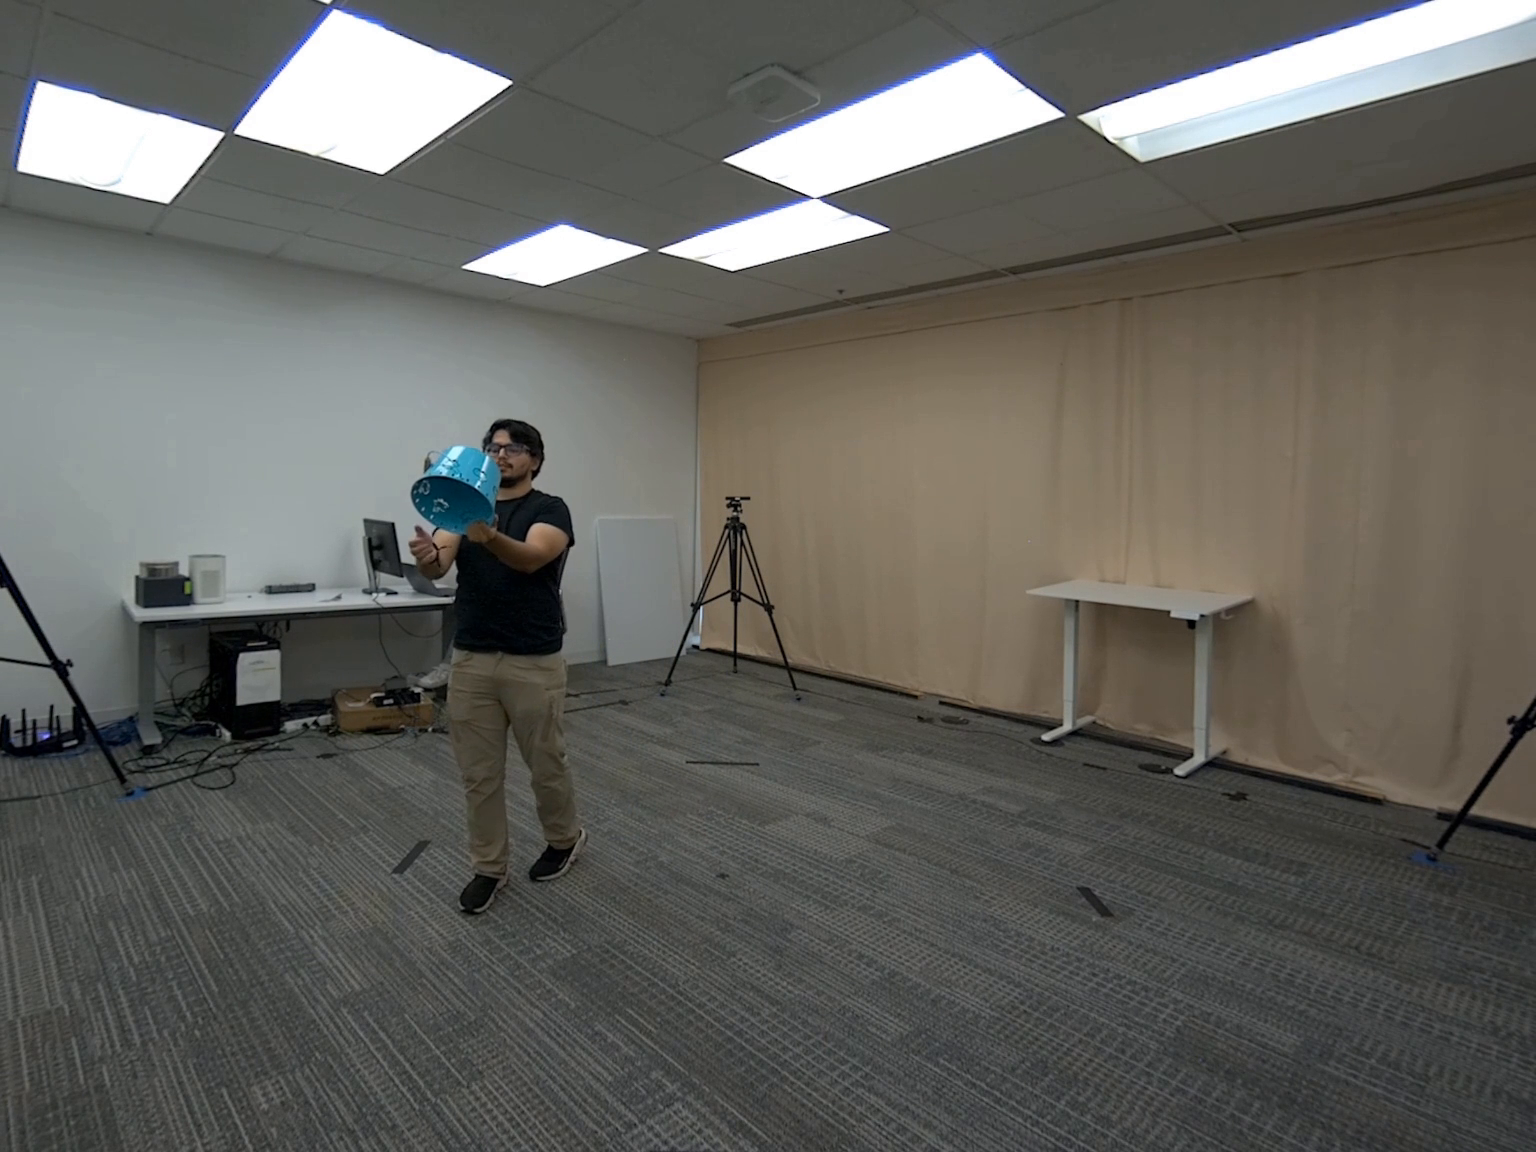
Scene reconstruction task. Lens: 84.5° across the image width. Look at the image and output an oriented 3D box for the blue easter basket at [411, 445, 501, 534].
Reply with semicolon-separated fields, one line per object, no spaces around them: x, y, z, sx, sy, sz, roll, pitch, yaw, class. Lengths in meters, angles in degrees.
-0.889;-0.251;2.381;0.245;0.238;0.159;2;48;7;blue easter basket
